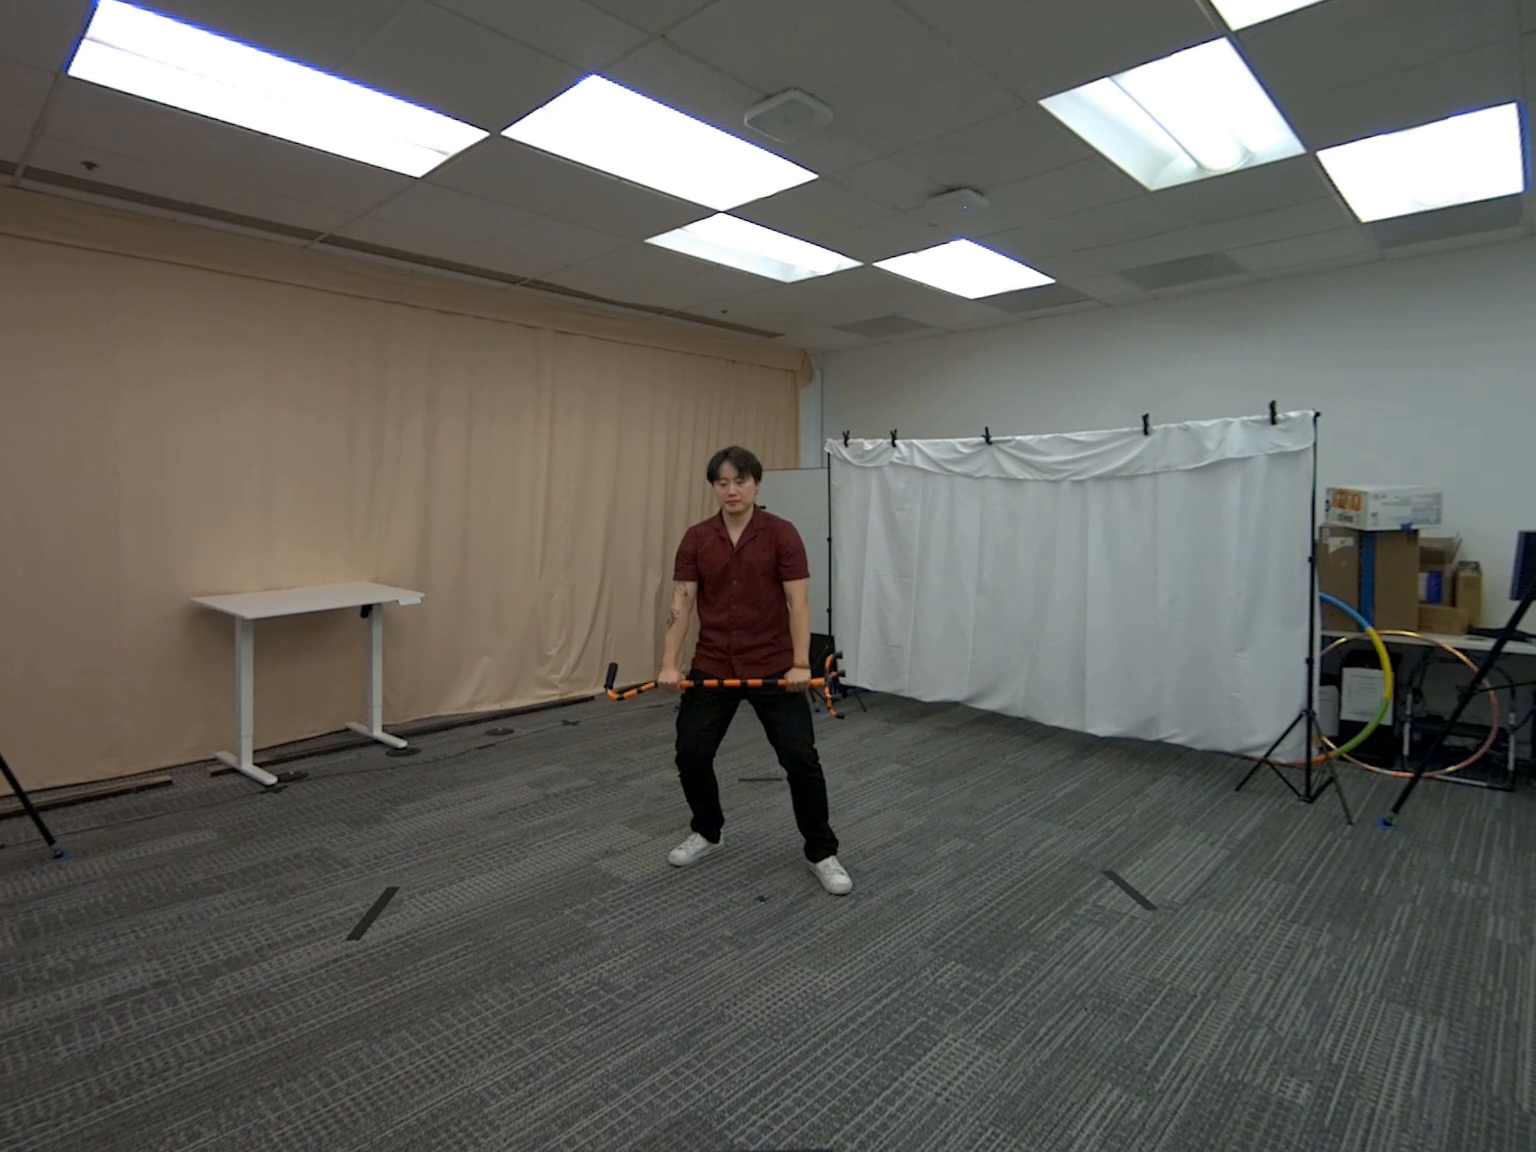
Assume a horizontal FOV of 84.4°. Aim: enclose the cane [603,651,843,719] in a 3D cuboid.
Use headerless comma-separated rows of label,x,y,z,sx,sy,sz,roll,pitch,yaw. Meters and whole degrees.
cane,-0.181,0.405,3.112,0.920,0.209,0.147,-2,-41,13
